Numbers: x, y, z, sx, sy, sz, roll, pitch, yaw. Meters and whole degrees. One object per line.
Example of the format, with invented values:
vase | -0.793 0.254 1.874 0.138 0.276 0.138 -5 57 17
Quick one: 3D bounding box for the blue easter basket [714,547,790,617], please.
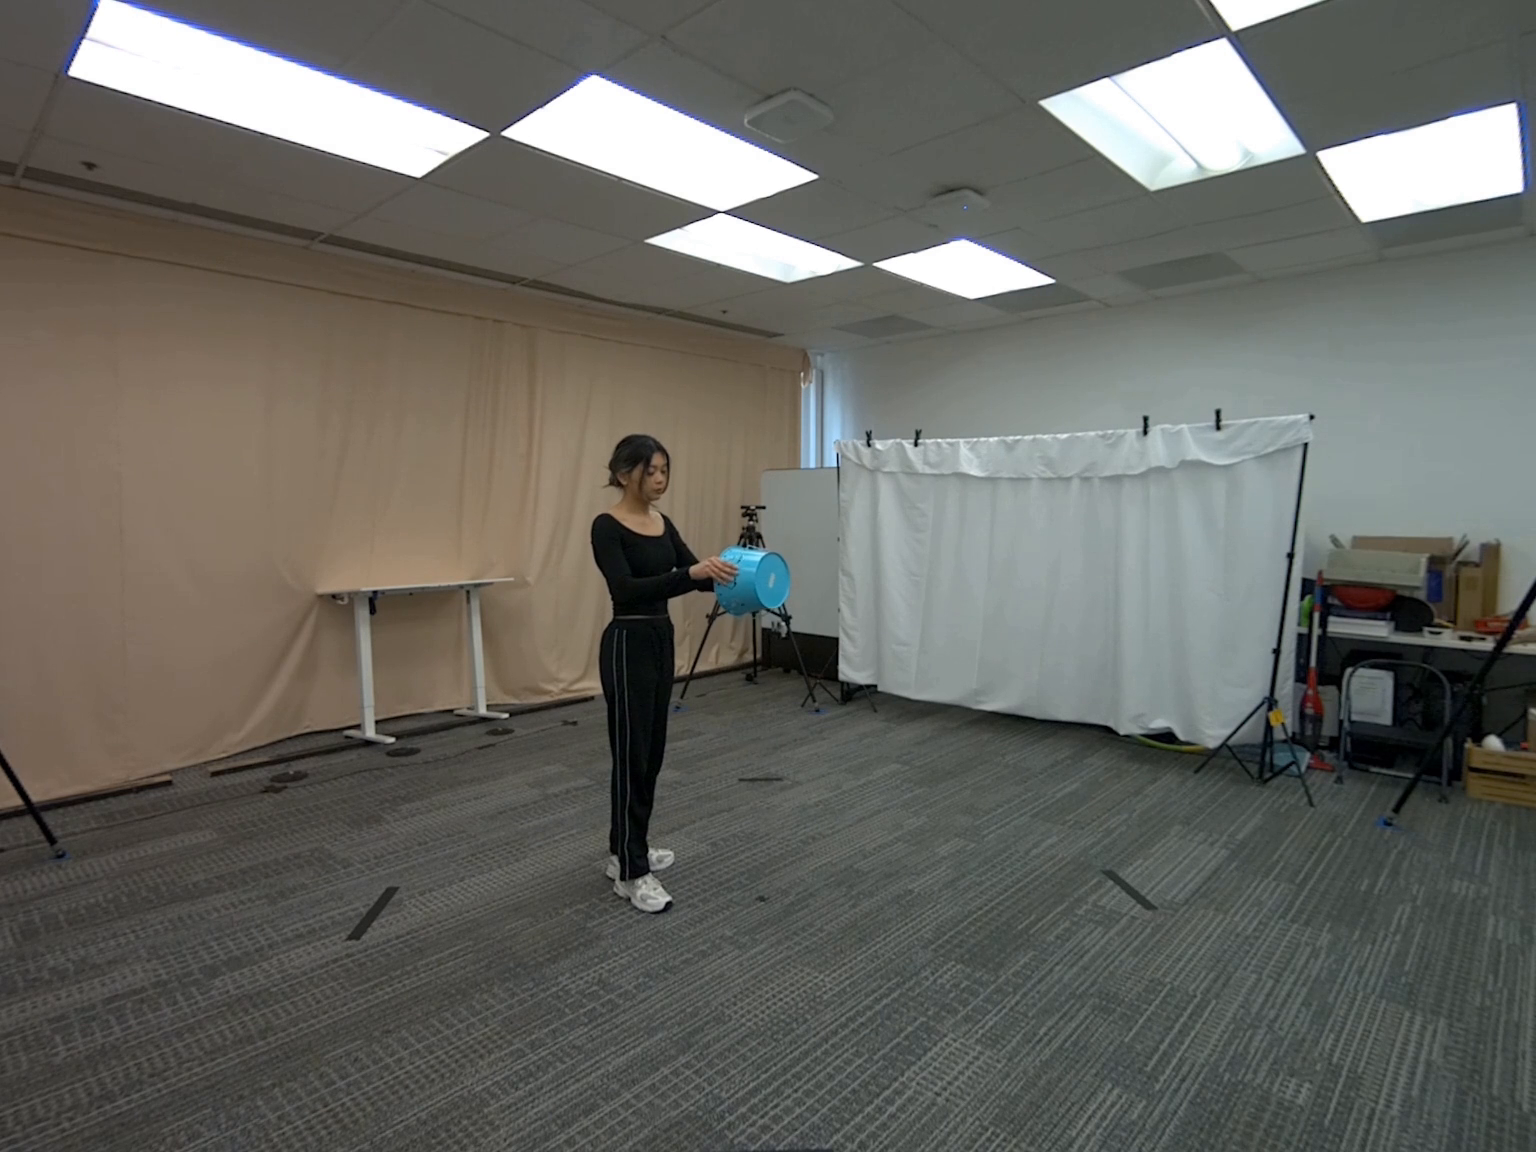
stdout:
blue easter basket | -0.038 0.019 2.736 0.161 0.243 0.236 0 3 40
